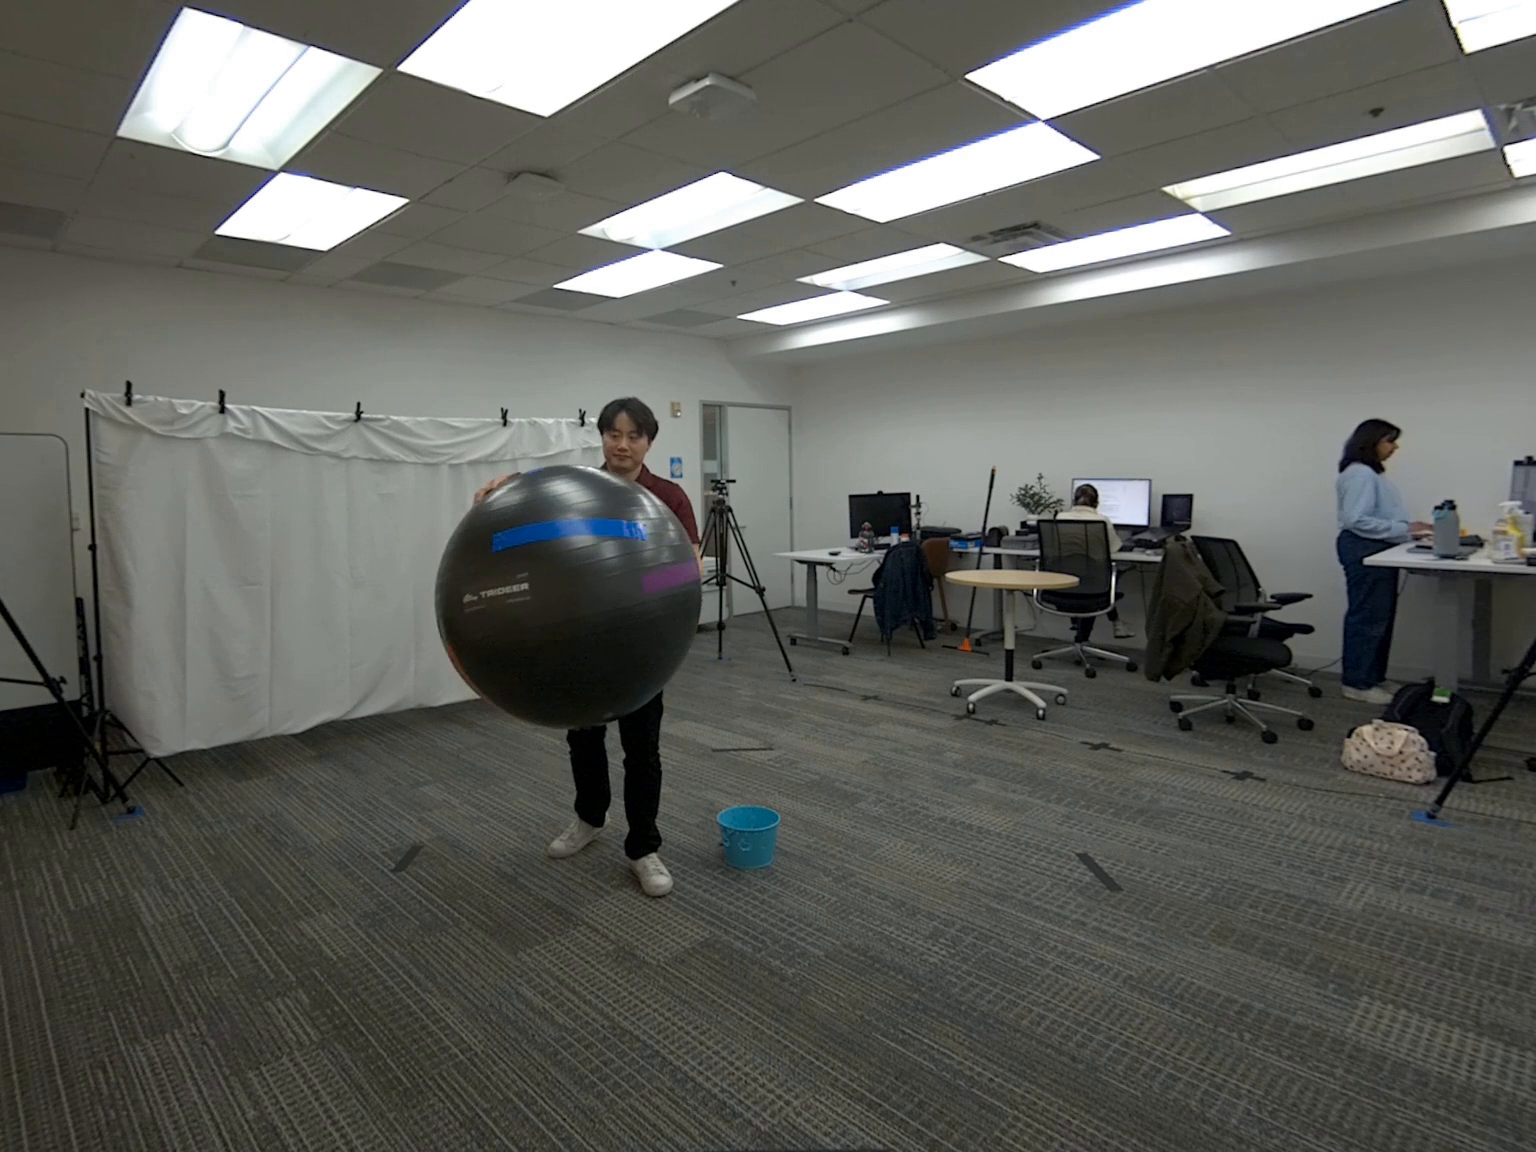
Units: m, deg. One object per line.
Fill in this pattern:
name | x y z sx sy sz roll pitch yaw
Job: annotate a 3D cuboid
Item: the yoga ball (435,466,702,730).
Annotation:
yoga ball | -0.591 0.062 2.494 0.757 0.755 0.762 -1 5 -2
